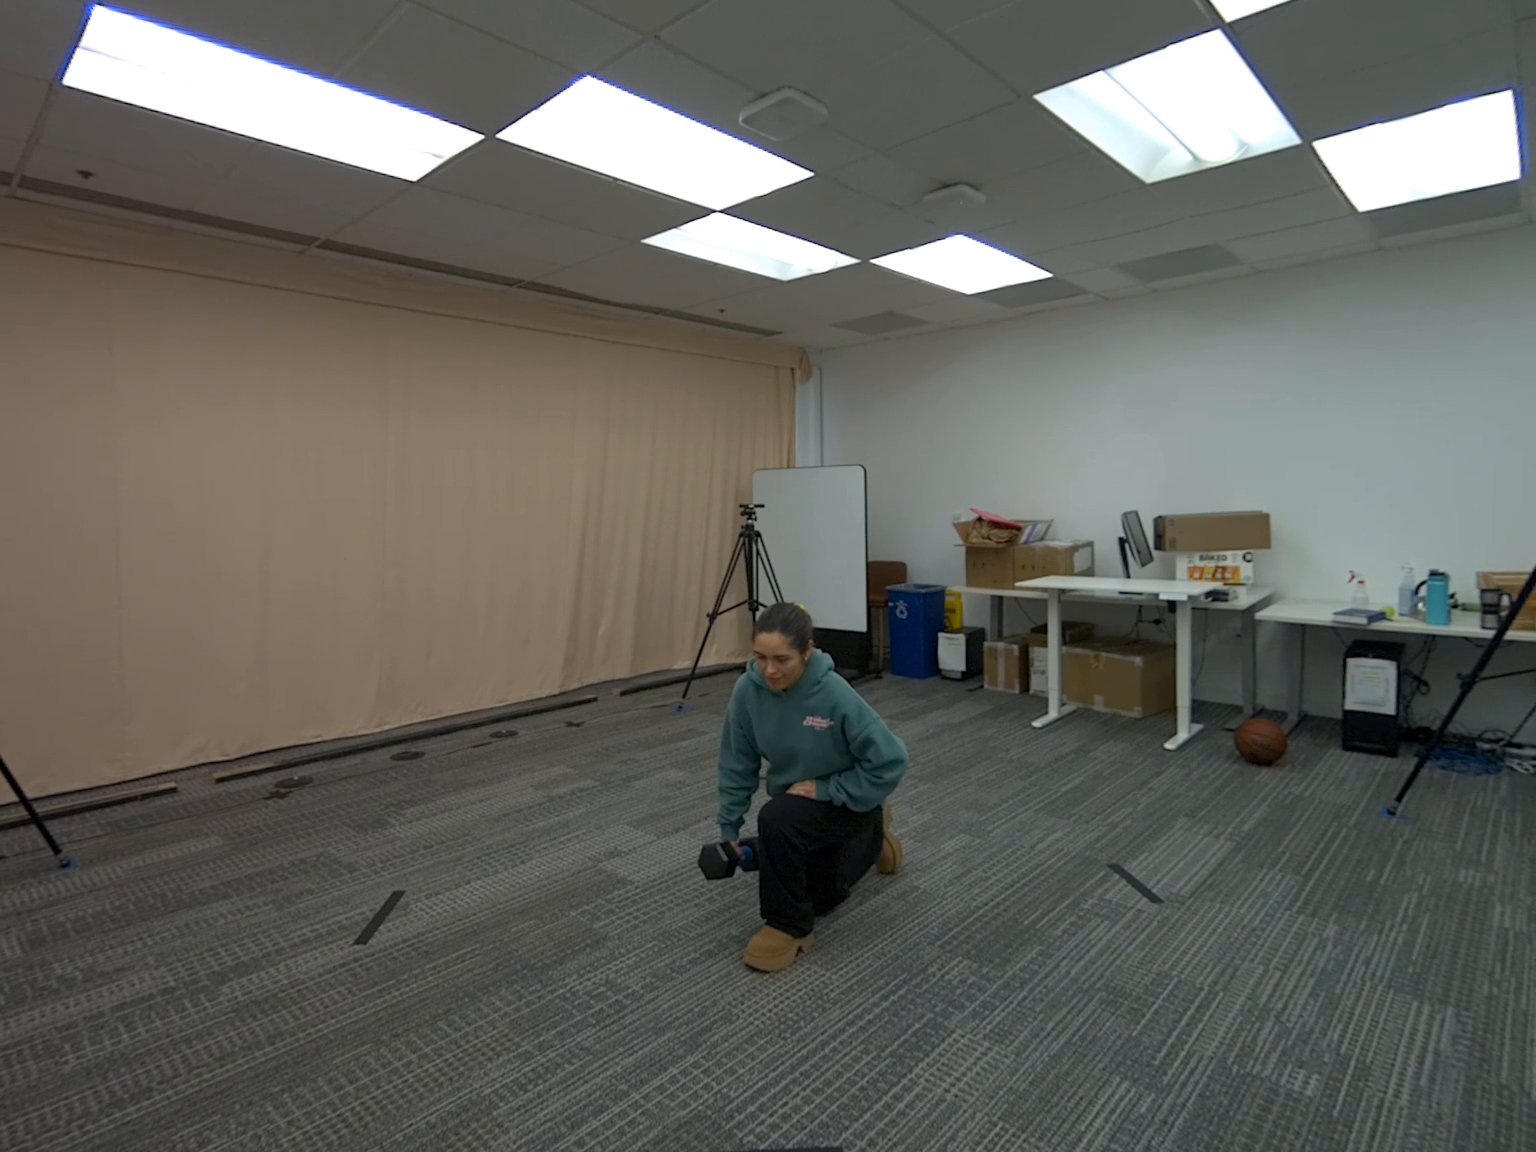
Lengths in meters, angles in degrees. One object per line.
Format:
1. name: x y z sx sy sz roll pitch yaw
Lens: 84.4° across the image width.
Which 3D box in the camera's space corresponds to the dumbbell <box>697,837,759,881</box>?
1. dumbbell: -0.100 0.913 2.744 0.127 0.109 0.283 51 18 30
